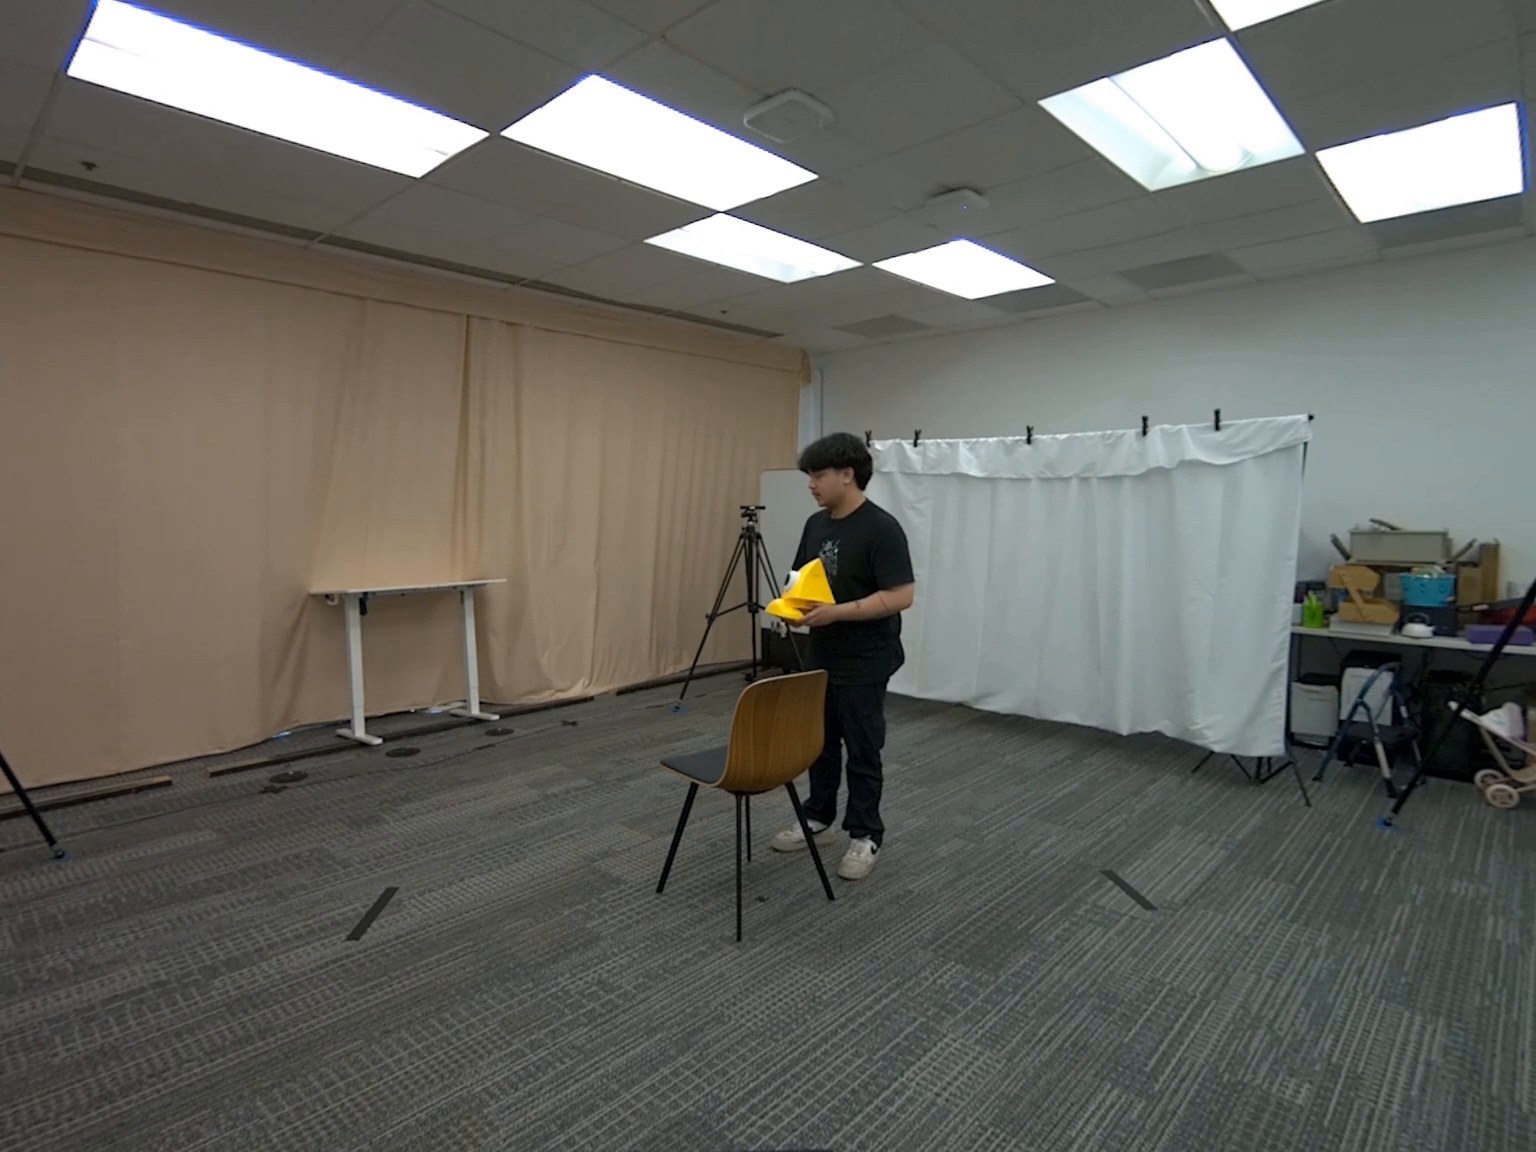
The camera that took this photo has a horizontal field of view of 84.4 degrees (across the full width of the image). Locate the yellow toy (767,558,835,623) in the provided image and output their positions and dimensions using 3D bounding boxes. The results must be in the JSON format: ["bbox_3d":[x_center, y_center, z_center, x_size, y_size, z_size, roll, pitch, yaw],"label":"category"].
[{"bbox_3d":[0.122,0.043,3.100,0.198,0.230,0.200,10,2,-42],"label":"yellow toy"}]
